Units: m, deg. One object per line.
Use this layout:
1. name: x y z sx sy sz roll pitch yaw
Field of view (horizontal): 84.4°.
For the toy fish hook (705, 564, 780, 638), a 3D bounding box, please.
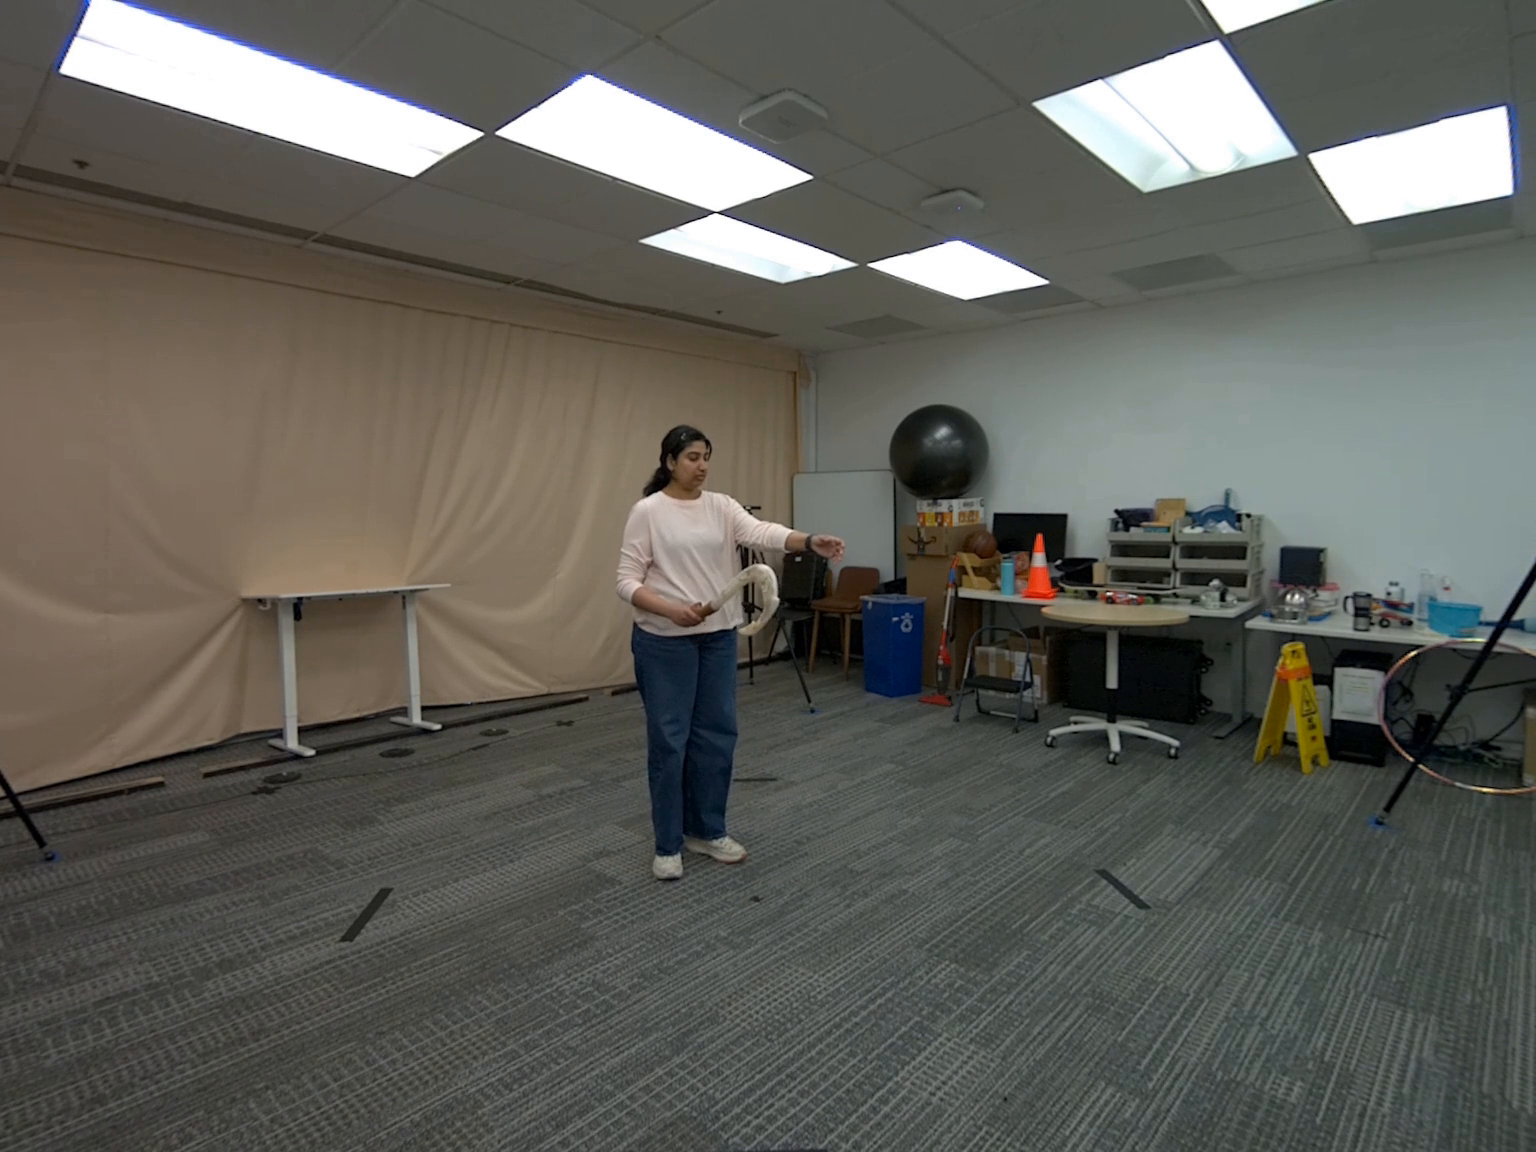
1. toy fish hook: -0.140 0.120 2.837 0.046 0.228 0.516 18 -33 -37
